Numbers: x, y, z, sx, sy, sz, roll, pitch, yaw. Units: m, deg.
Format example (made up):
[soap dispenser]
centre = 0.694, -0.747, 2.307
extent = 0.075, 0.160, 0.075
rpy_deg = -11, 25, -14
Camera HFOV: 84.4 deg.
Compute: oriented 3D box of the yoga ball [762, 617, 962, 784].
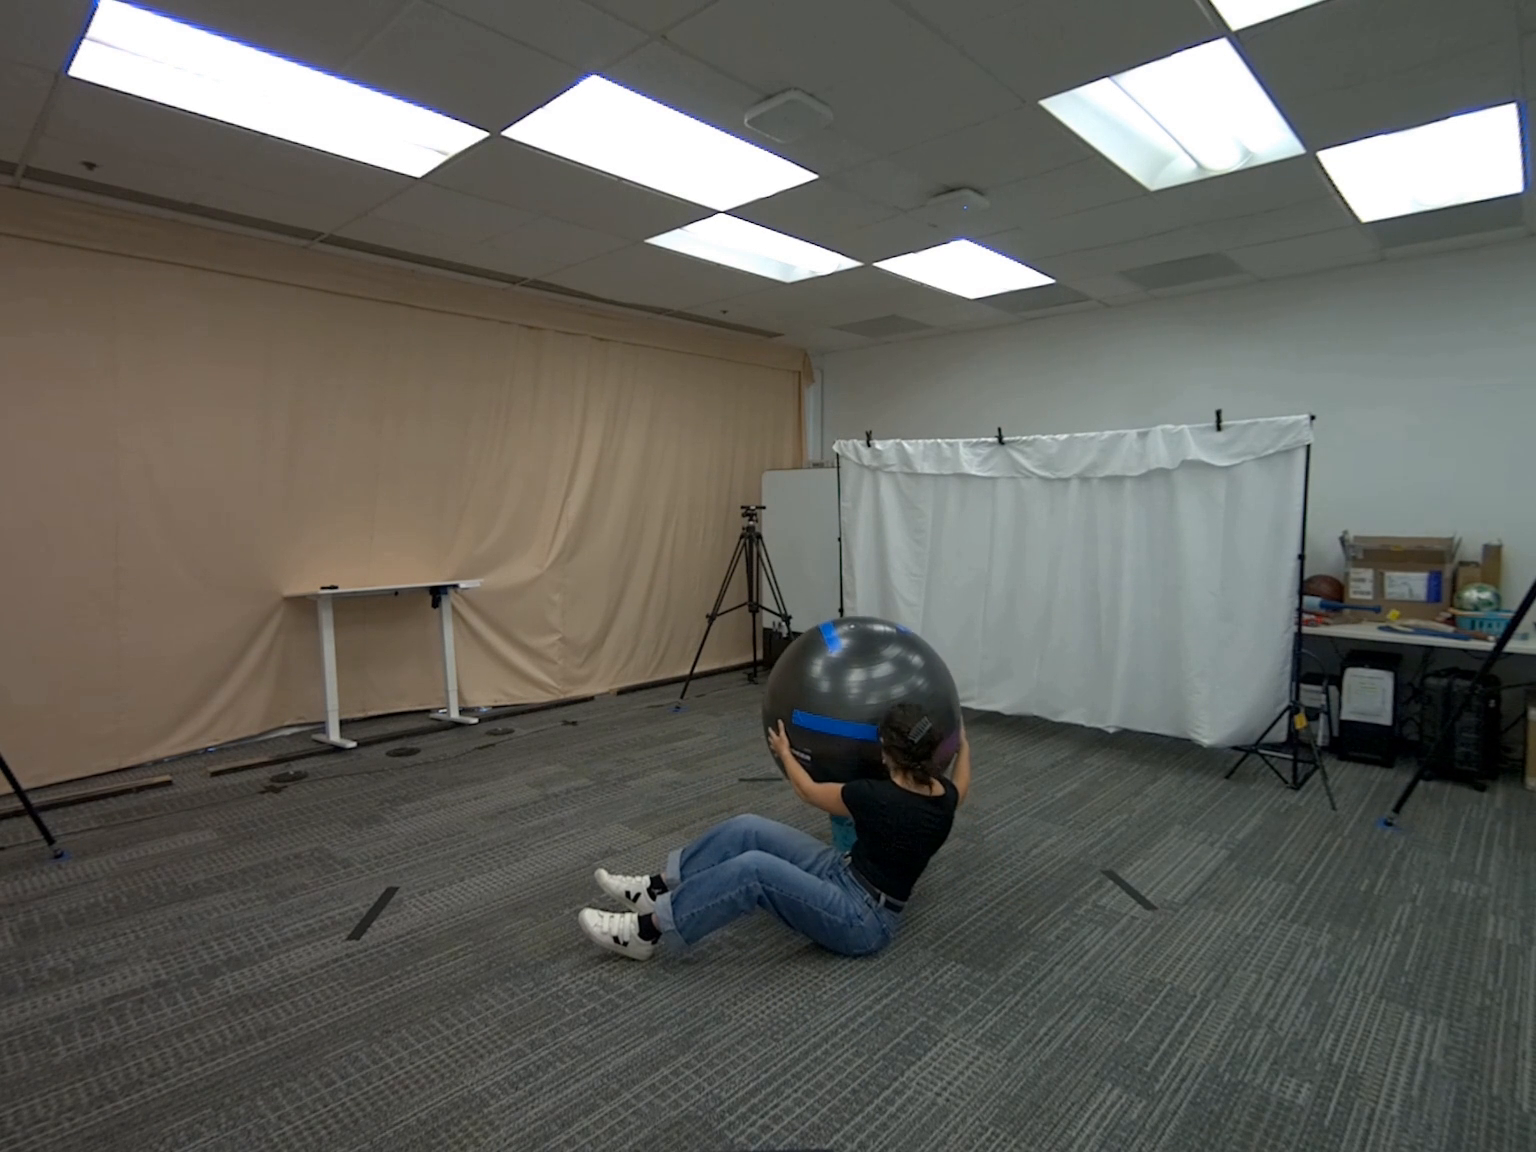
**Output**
[yoga ball]
centre = 0.359, 0.538, 3.278
extent = 0.757, 0.756, 0.761
rpy_deg = 0, 4, -2
